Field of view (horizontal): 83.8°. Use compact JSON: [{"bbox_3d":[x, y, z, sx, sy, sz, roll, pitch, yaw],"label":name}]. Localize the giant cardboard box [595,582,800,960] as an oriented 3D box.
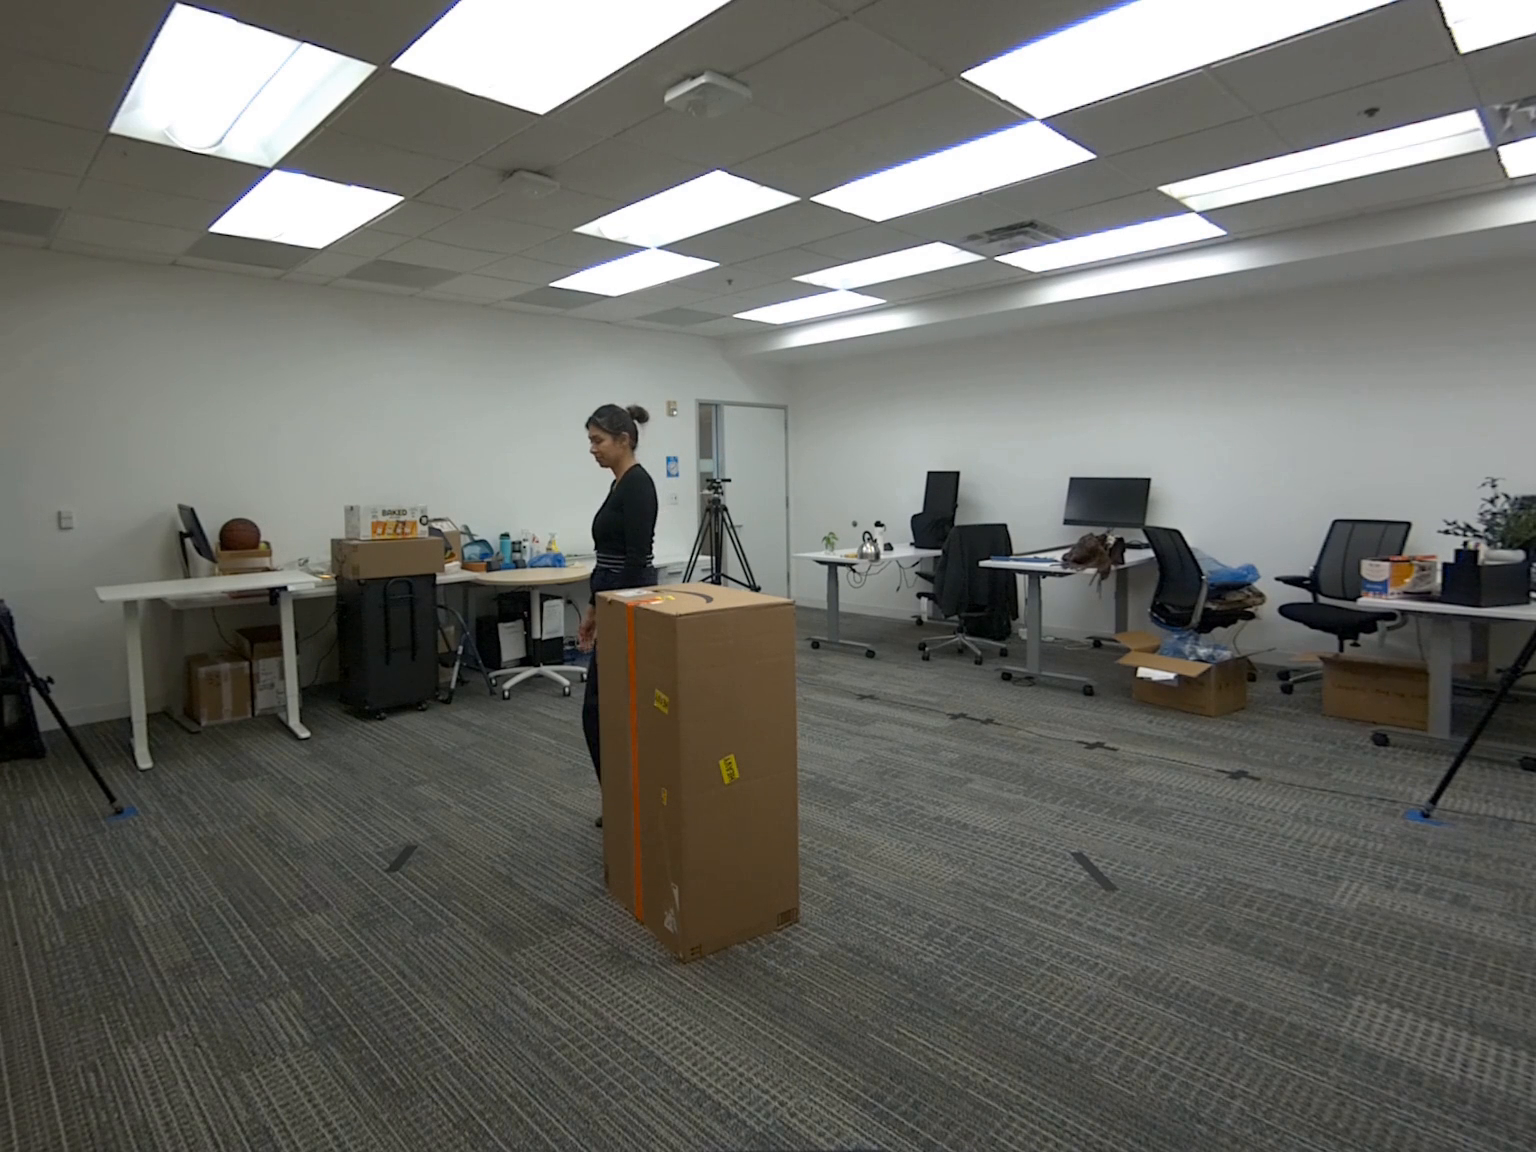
[{"bbox_3d":[-0.238,0.576,2.783,0.416,1.022,0.594,-4,5,-34],"label":"giant cardboard box"}]
